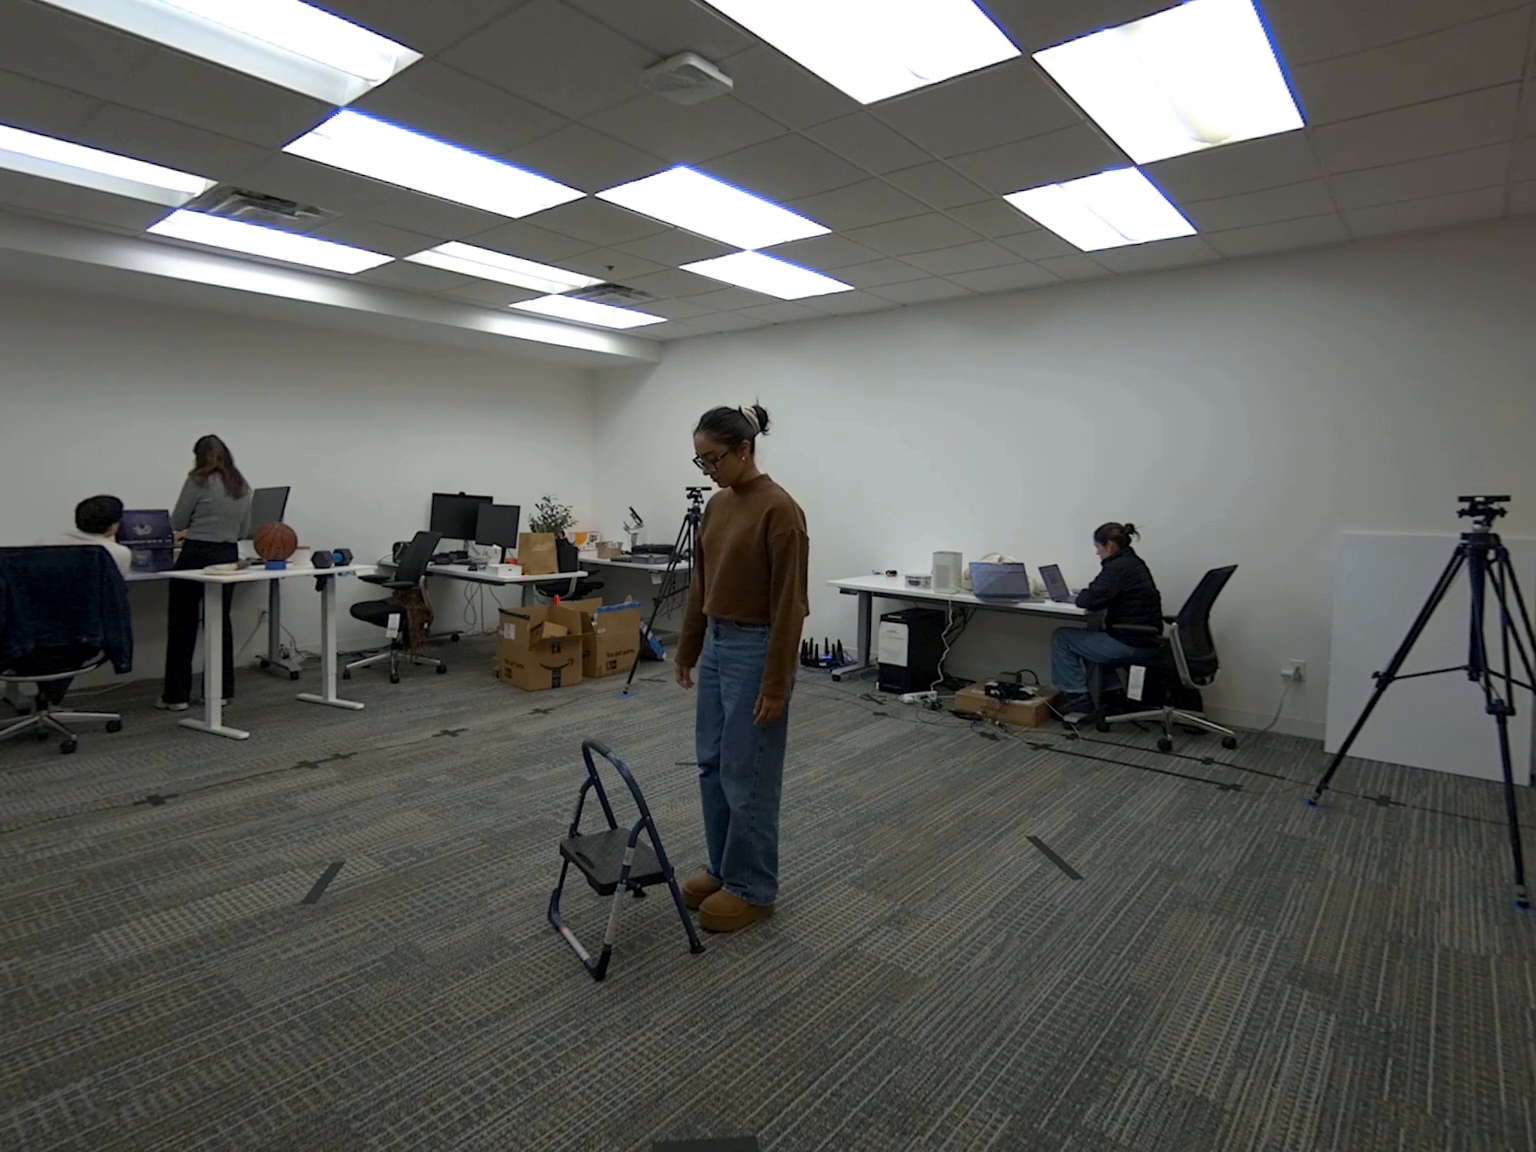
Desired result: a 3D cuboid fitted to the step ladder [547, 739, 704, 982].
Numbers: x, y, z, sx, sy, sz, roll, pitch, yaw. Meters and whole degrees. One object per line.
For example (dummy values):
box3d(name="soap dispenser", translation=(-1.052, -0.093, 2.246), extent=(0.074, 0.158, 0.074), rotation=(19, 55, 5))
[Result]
box3d(name="step ladder", translation=(-0.456, 0.807, 2.624), extent=(0.339, 0.604, 0.444), rotation=(-1, 4, -34))
